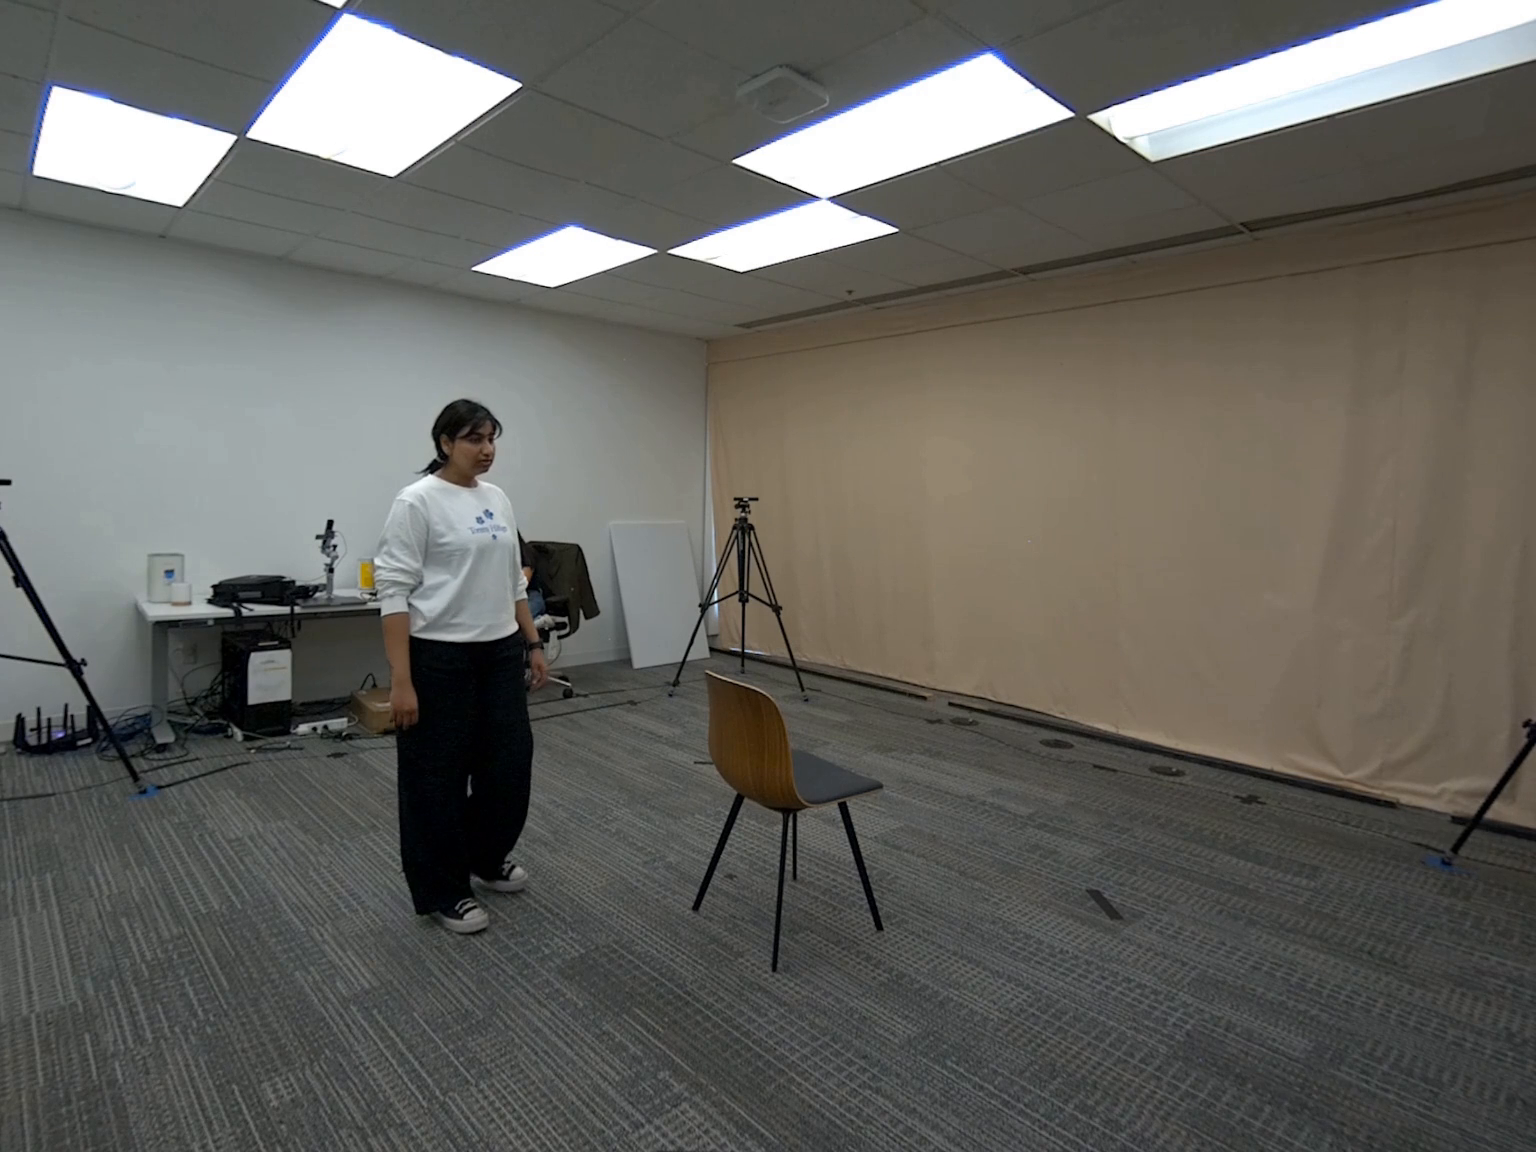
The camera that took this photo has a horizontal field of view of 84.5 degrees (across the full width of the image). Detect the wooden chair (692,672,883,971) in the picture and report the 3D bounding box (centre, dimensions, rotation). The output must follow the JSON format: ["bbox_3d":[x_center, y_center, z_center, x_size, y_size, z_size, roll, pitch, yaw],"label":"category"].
[{"bbox_3d":[0.070,0.717,2.764,0.513,0.873,0.490,-7,8,-37],"label":"wooden chair"}]
